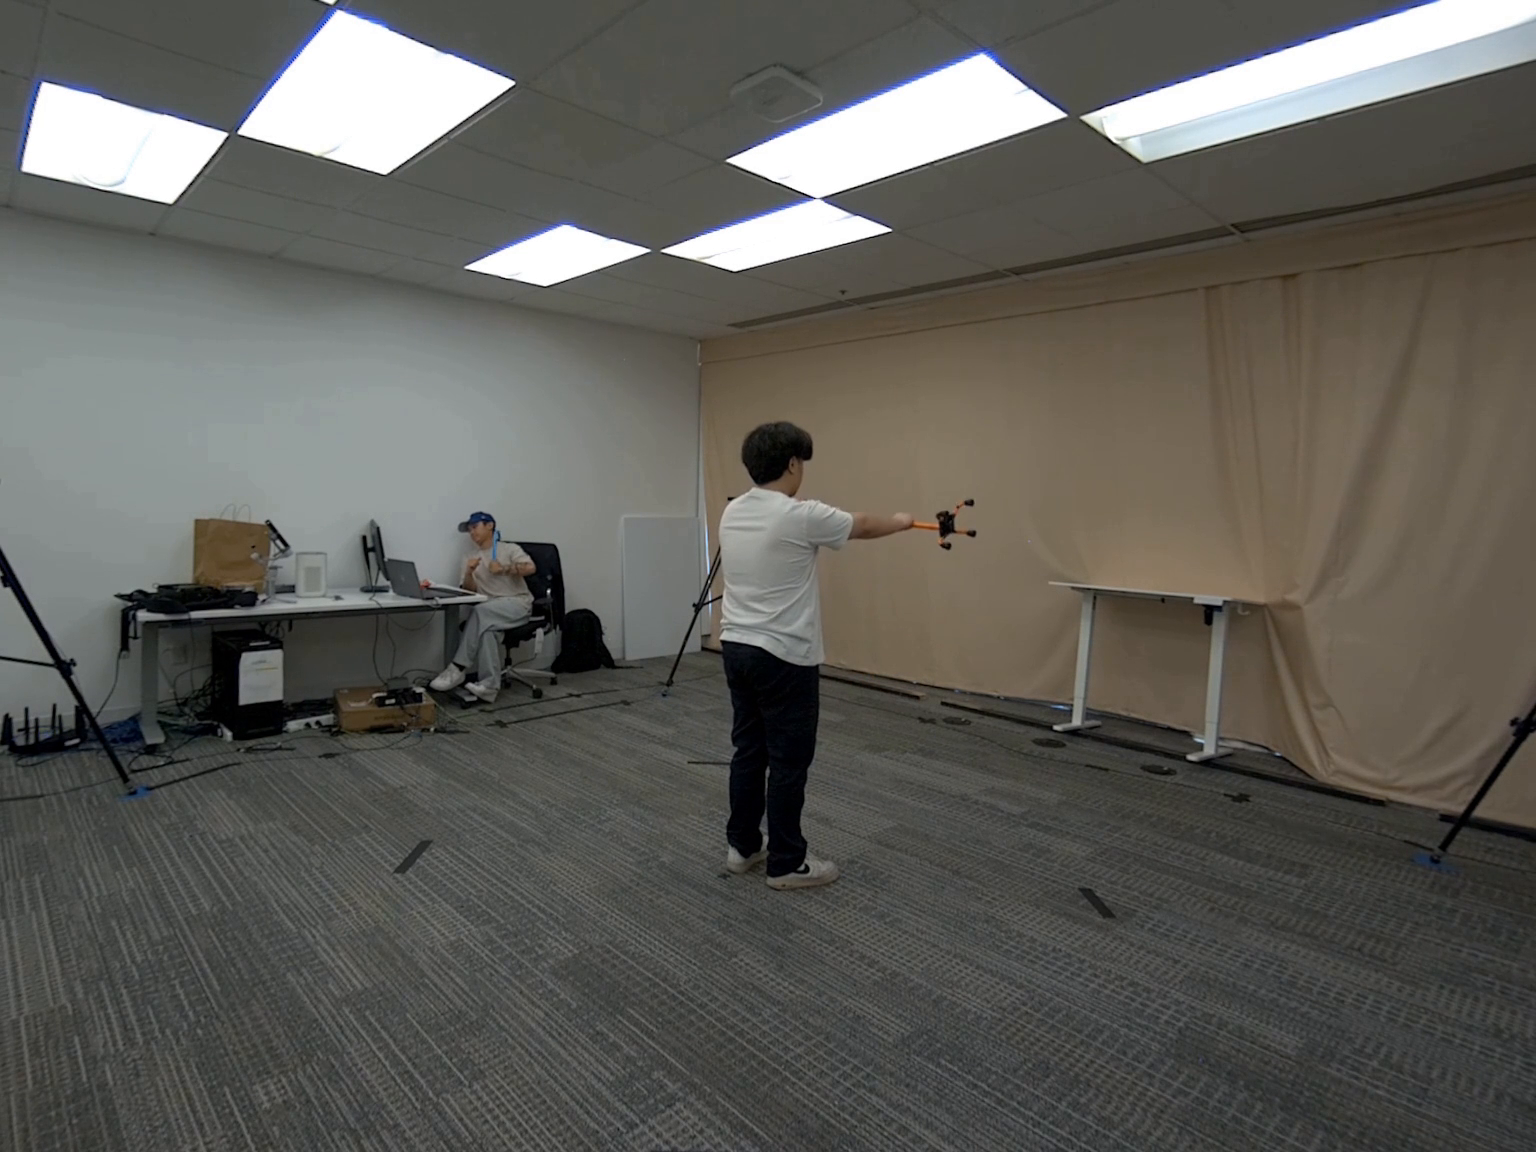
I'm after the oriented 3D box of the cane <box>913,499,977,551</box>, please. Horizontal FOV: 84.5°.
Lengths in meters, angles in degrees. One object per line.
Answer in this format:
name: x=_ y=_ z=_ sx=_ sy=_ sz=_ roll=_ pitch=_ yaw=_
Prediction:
cane: x=0.391 y=-0.247 z=3.491 sx=0.203 sy=0.150 sz=0.932 roll=-21 pitch=20 yaw=-41
